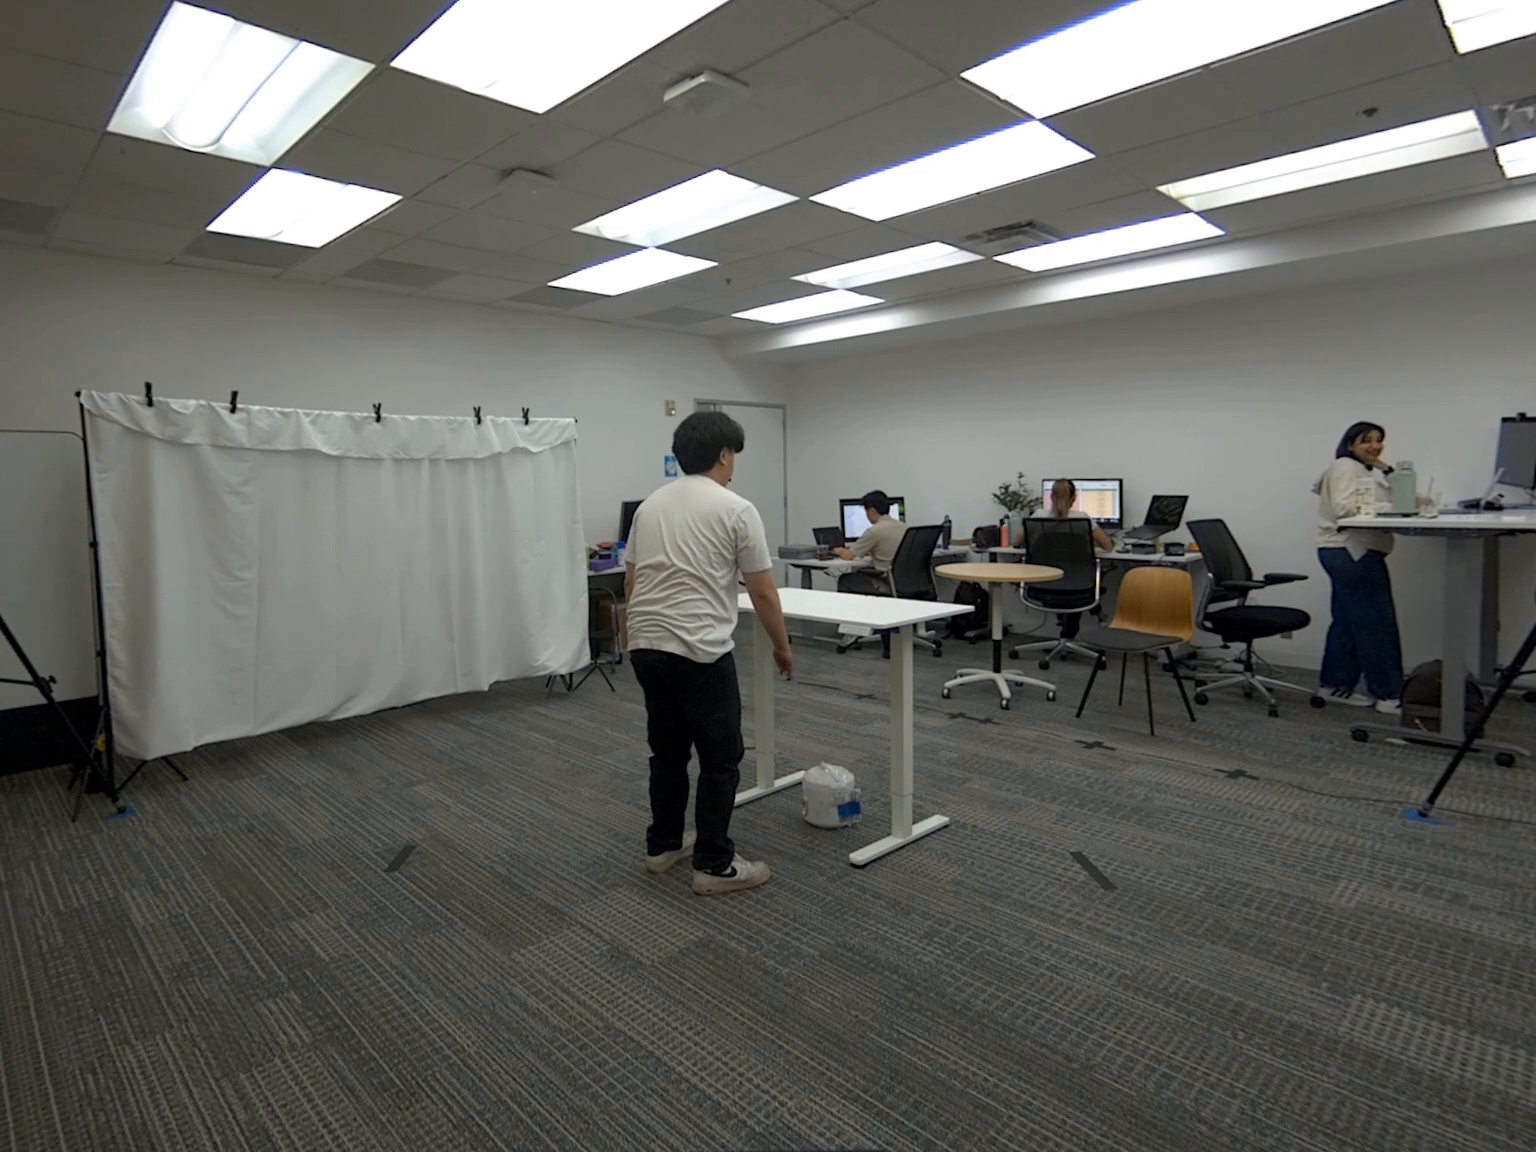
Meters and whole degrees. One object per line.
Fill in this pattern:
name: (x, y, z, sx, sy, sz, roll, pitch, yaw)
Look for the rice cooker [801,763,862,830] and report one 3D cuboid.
rice cooker: (0.244, 0.881, 3.463, 0.214, 0.232, 0.225, -2, 5, -16)
